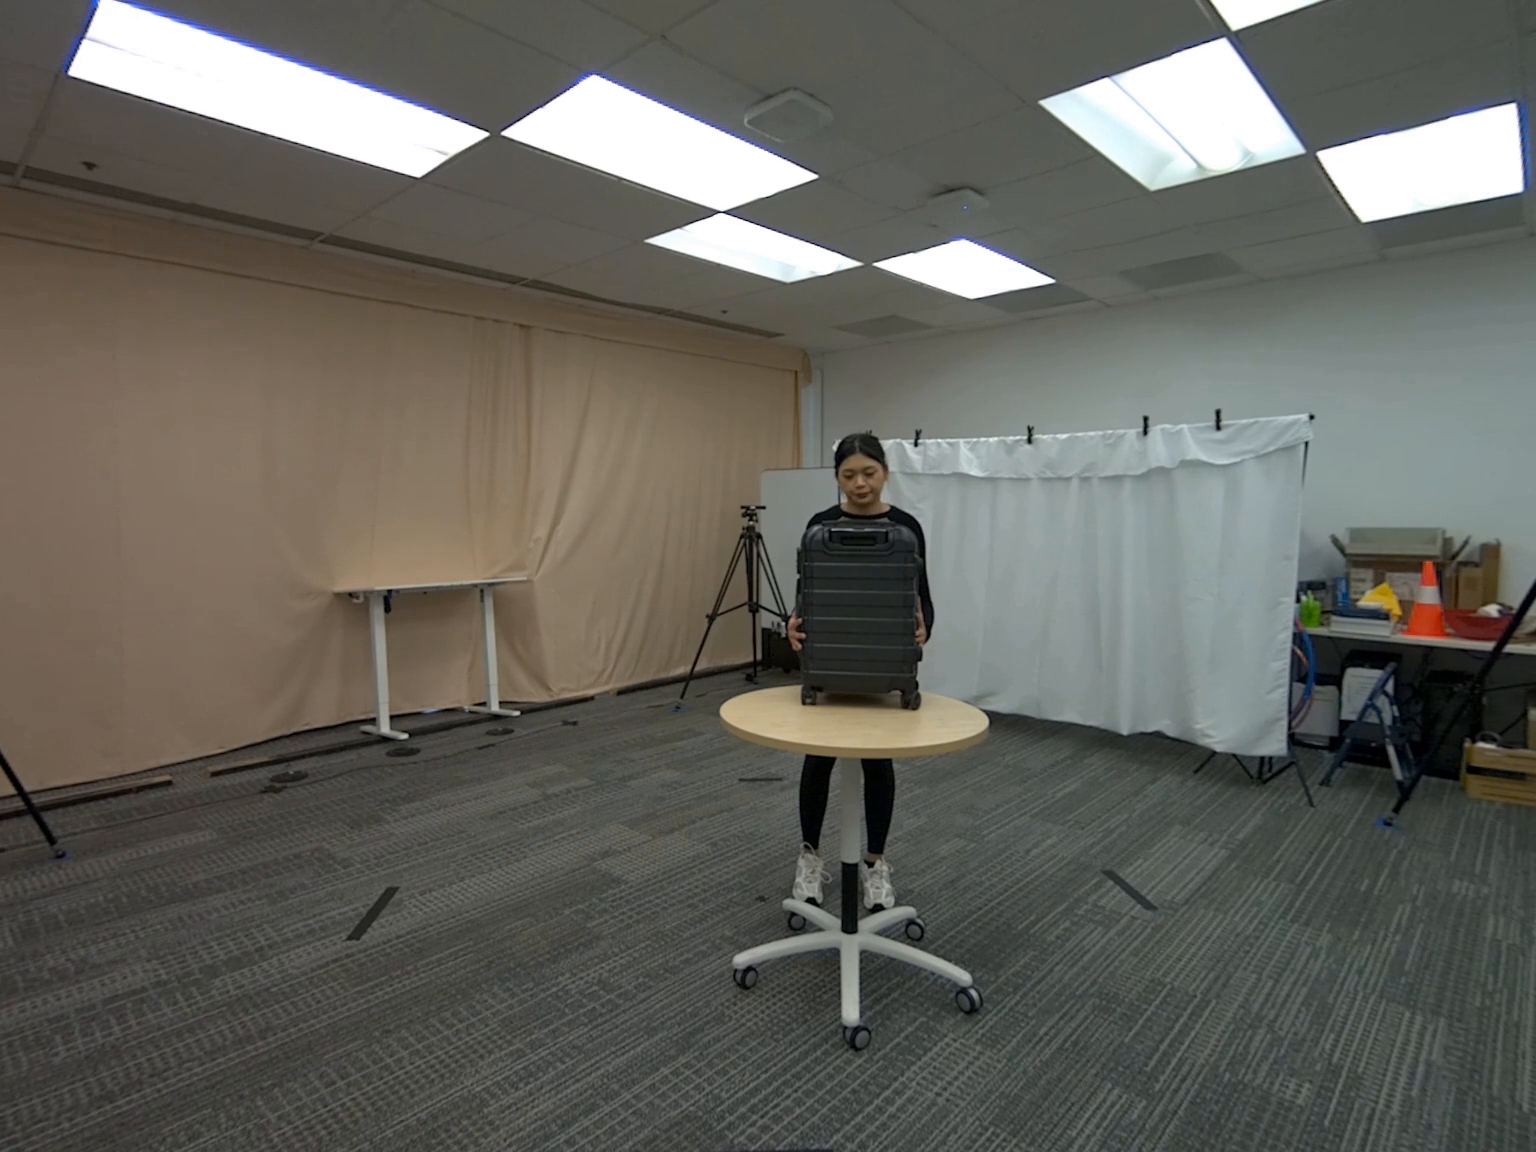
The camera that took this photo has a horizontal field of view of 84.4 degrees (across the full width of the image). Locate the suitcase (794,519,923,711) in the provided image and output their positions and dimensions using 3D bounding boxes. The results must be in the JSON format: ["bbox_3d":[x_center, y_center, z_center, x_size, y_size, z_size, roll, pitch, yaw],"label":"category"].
[{"bbox_3d":[0.275,0.107,2.588,0.380,0.548,0.246,0,4,10],"label":"suitcase"}]
